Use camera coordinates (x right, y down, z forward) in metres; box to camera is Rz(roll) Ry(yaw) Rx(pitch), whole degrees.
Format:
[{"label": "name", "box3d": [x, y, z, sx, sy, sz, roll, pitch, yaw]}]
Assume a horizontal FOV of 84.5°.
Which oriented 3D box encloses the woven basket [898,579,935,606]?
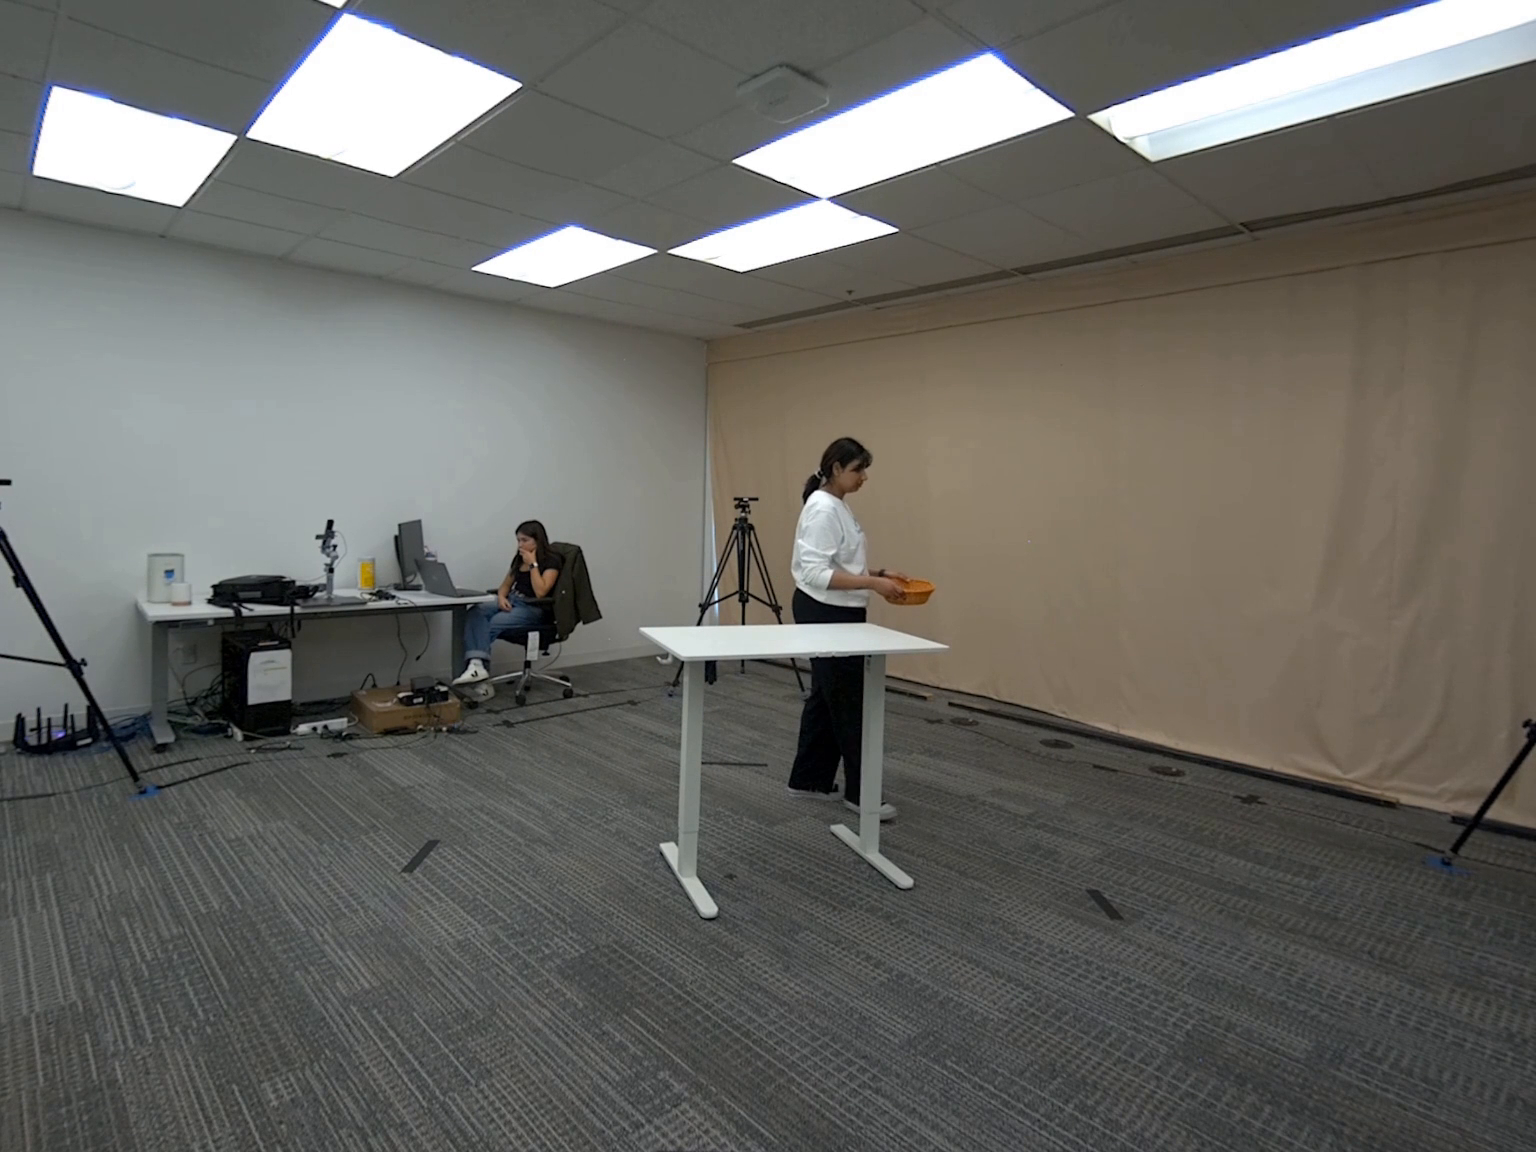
[{"label": "woven basket", "box3d": [0.585, 0.069, 3.816, 0.251, 0.073, 0.354, -2, 11, -5]}]
